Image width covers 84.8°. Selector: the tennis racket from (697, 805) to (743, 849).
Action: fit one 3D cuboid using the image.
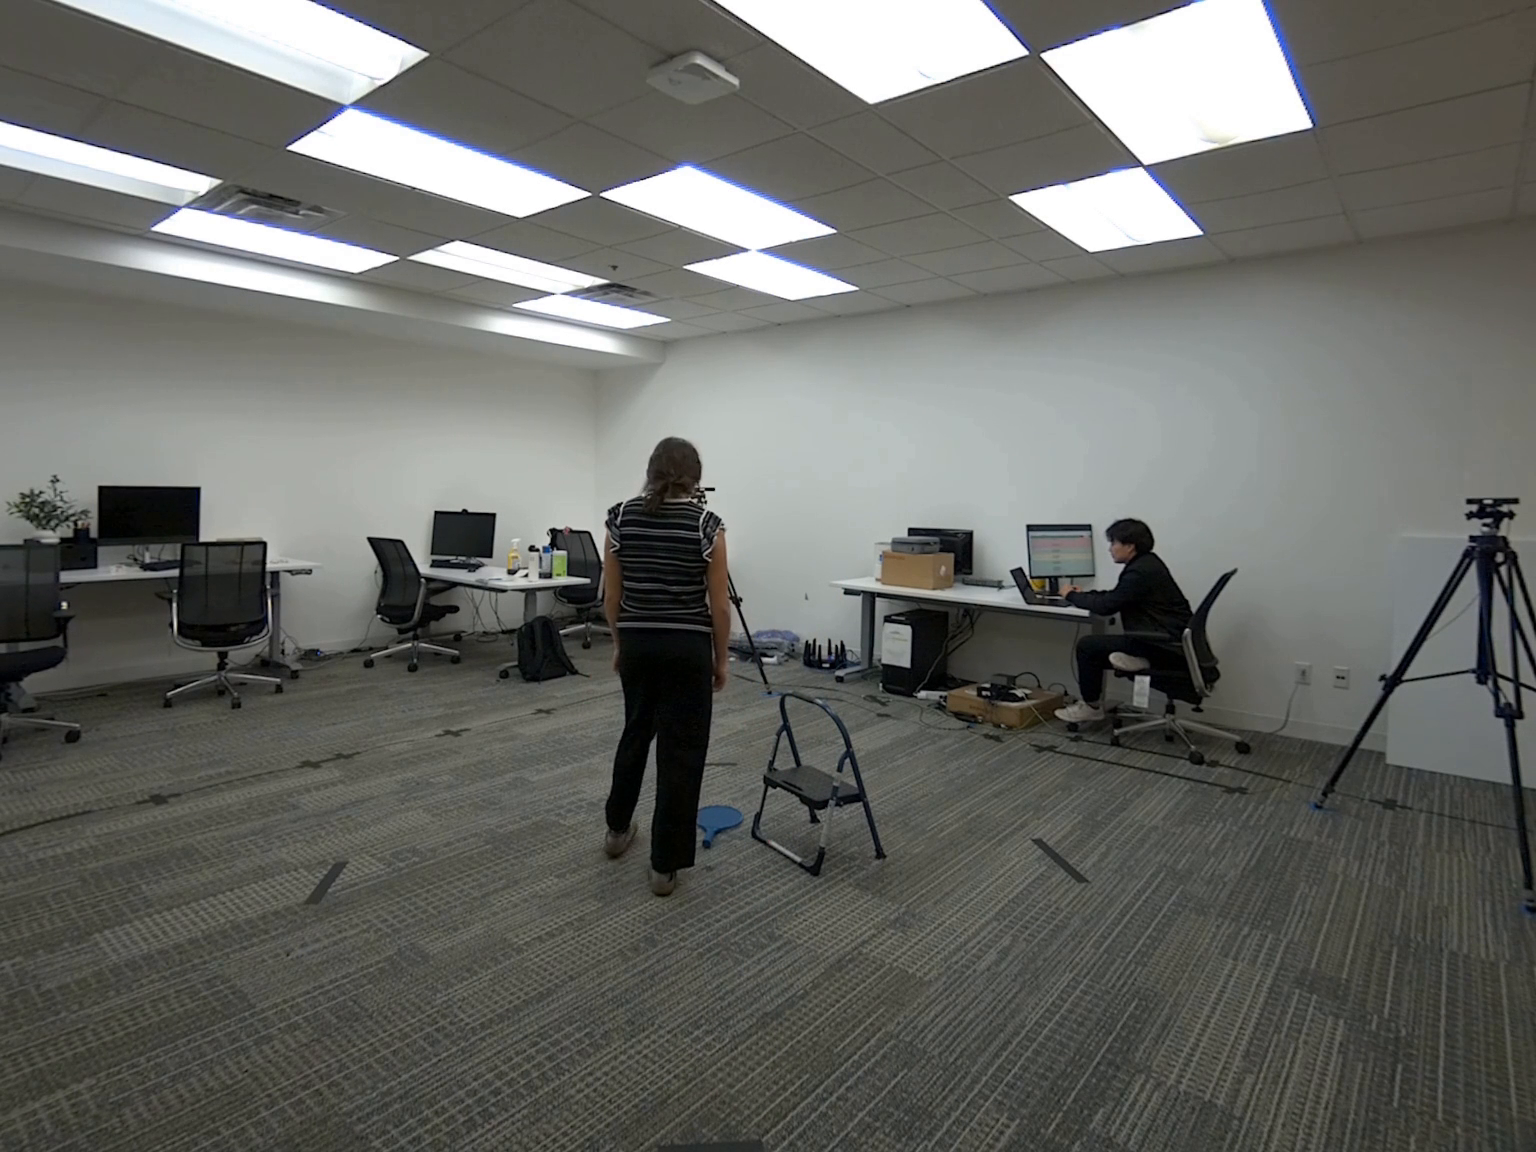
[{"bbox_3d":[-0.228,1.010,3.492,0.216,0.032,0.428,2,4,10],"label":"tennis racket"}]
